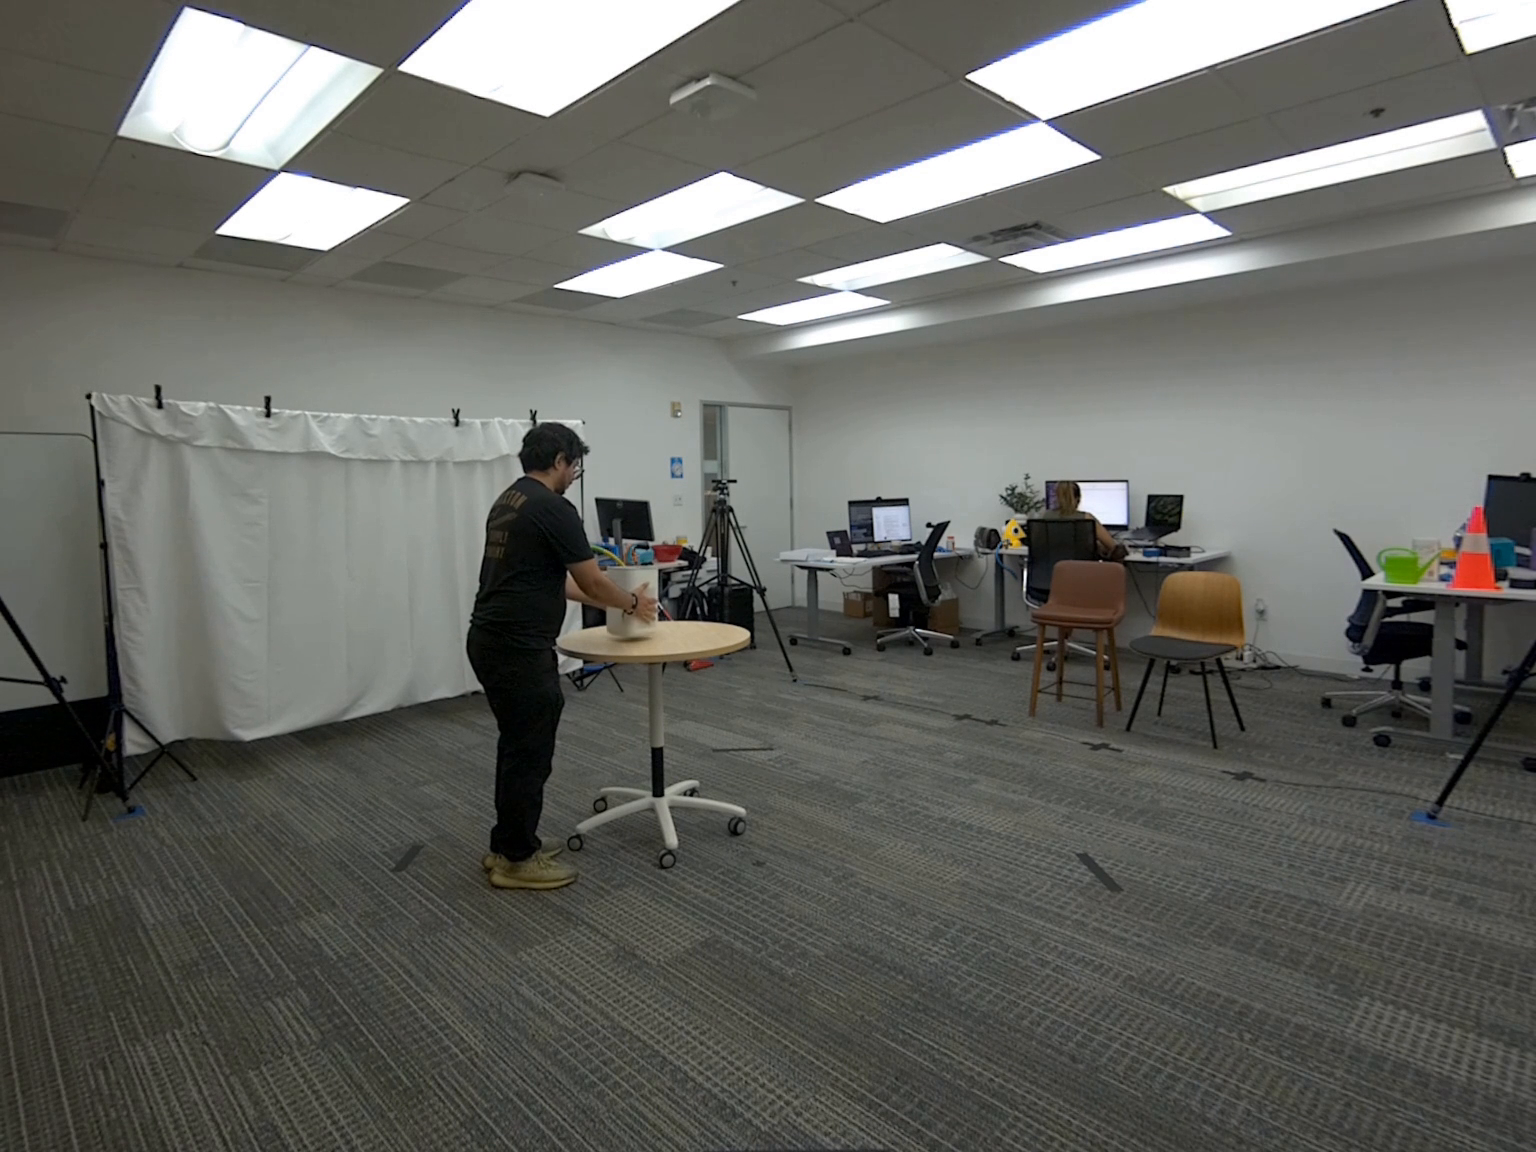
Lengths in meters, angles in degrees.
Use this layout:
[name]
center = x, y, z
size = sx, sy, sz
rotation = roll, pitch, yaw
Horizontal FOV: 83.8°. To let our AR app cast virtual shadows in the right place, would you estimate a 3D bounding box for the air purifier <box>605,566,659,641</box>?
[air purifier]
center = -0.526, 0.092, 3.334
size = 0.173, 0.262, 0.169
rotation = 0, 1, 40
